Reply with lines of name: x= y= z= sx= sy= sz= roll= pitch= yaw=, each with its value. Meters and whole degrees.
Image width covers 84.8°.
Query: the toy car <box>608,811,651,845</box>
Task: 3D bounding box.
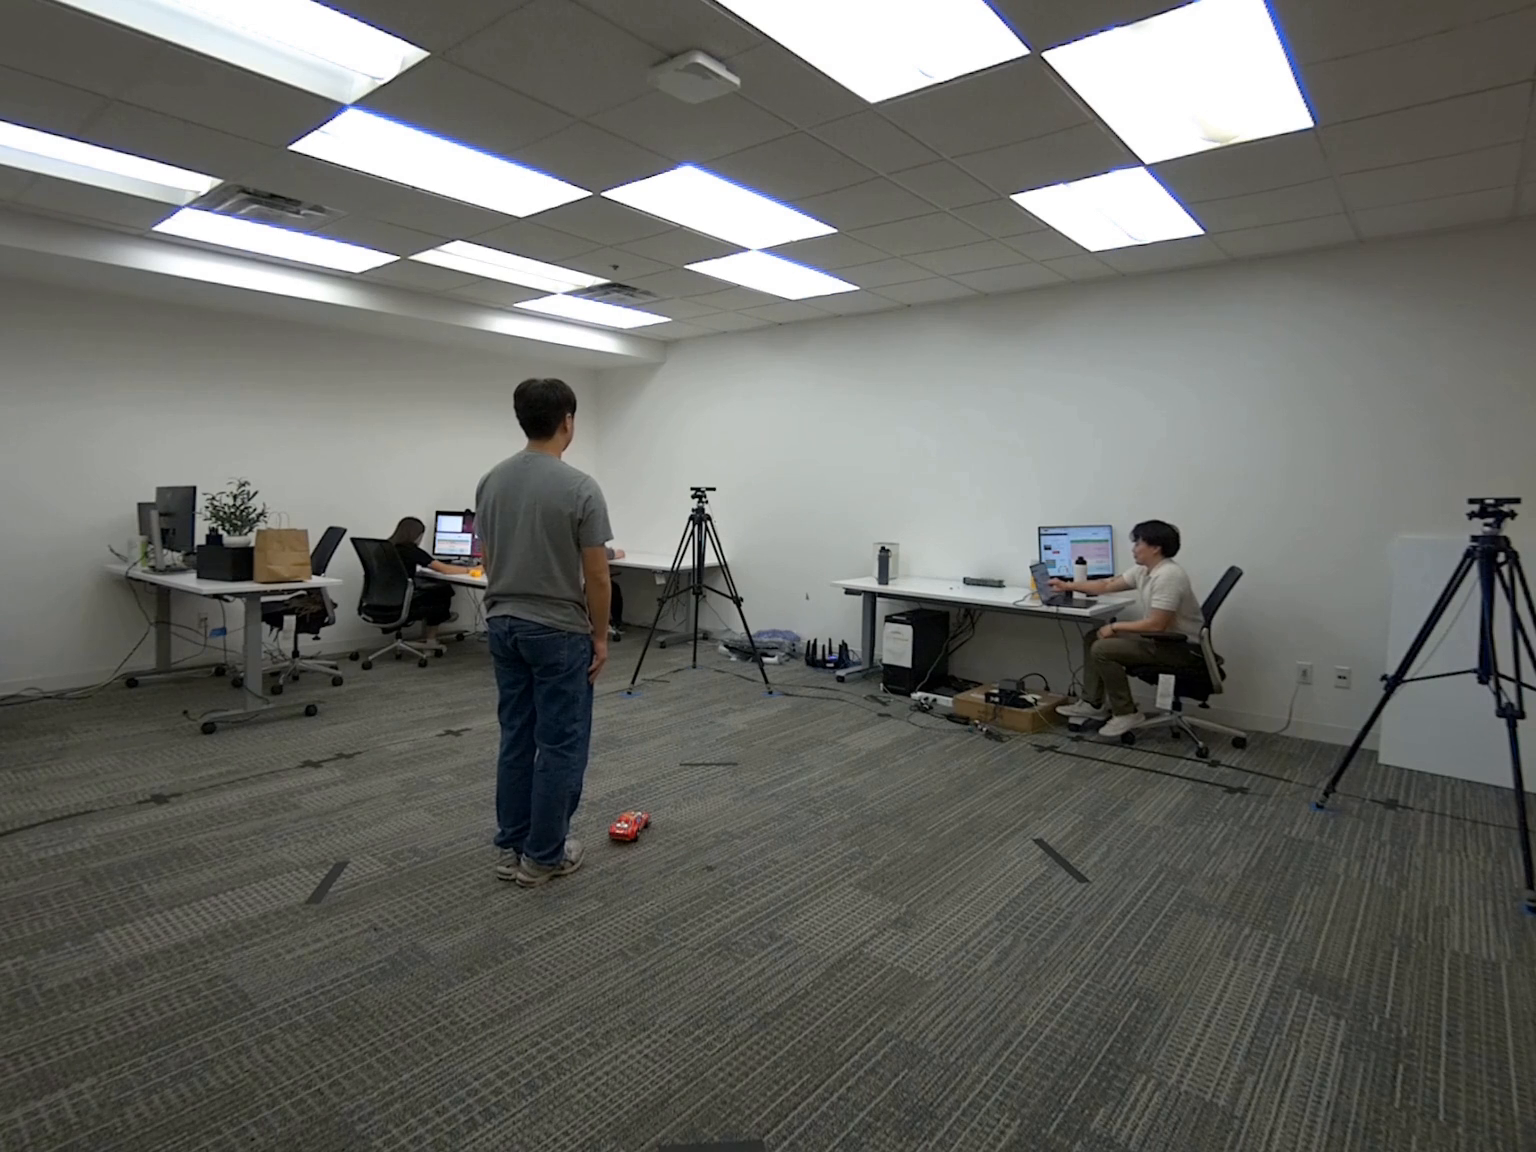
toy car: x=-0.568 y=0.999 z=3.403 sx=0.132 sy=0.084 sz=0.249 roll=2 pitch=-6 yaw=11
